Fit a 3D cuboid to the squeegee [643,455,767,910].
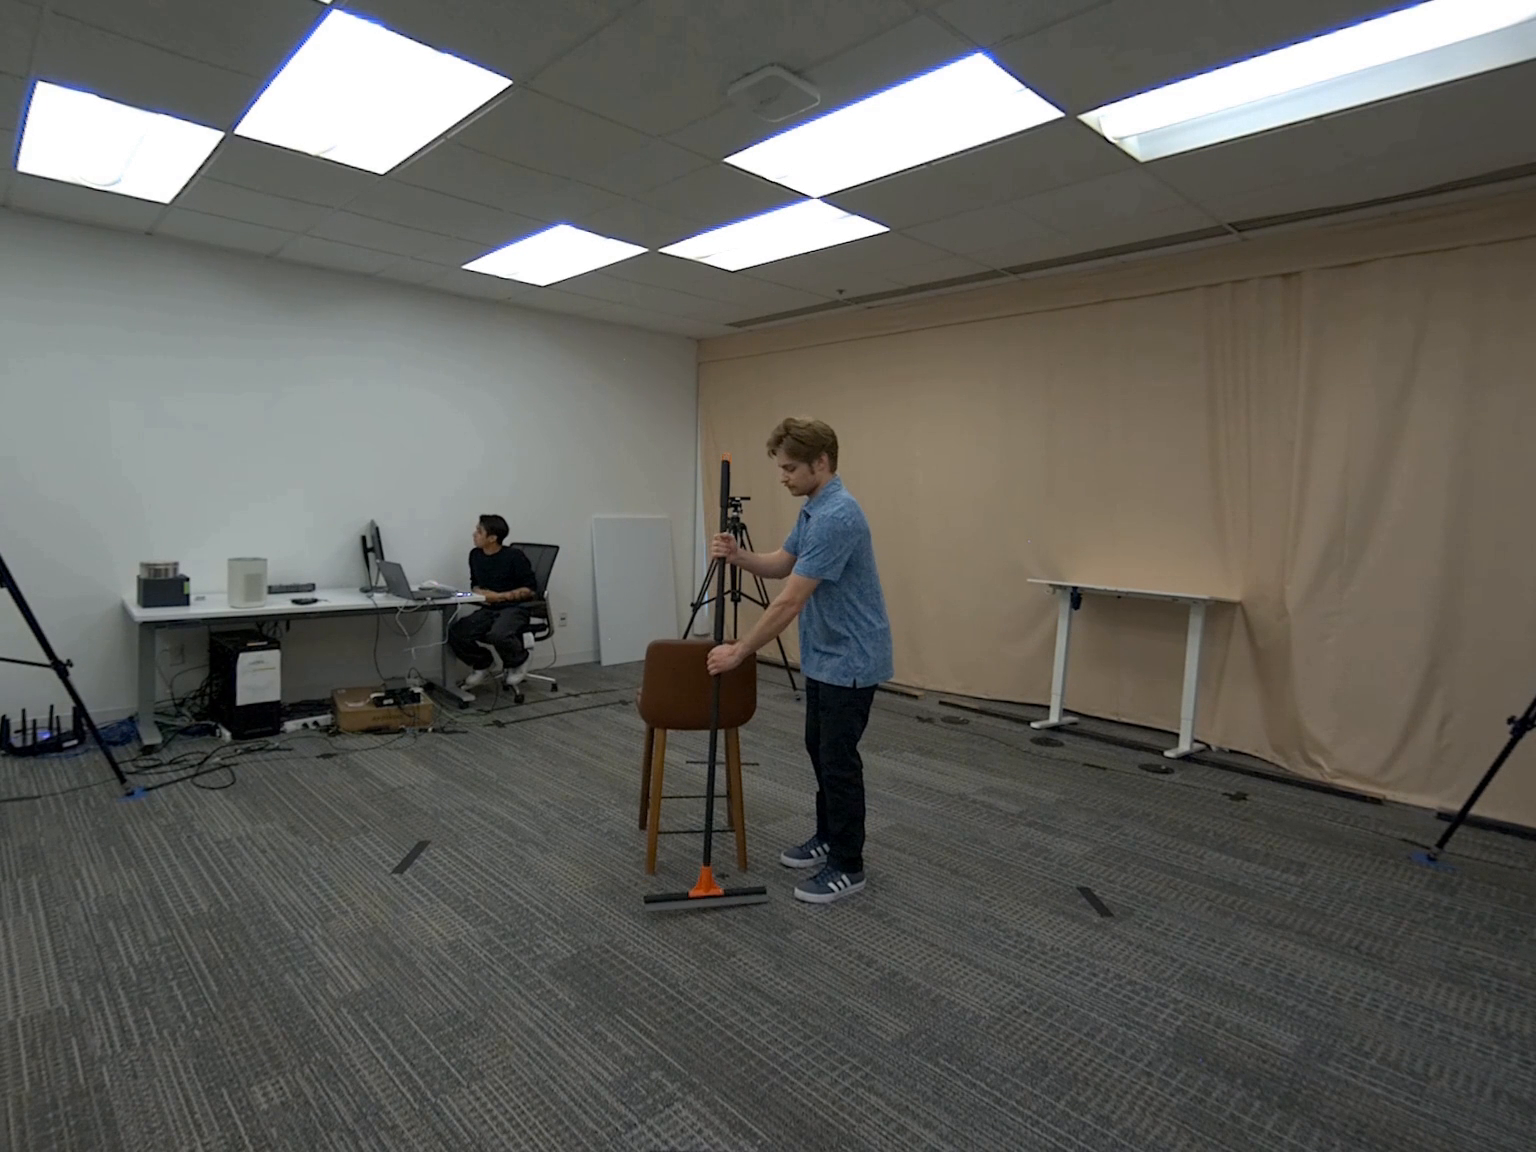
[{"bbox_3d":[-0.174,0.346,2.887,0.432,1.541,0.053,3,-3,-16],"label":"squeegee"}]
